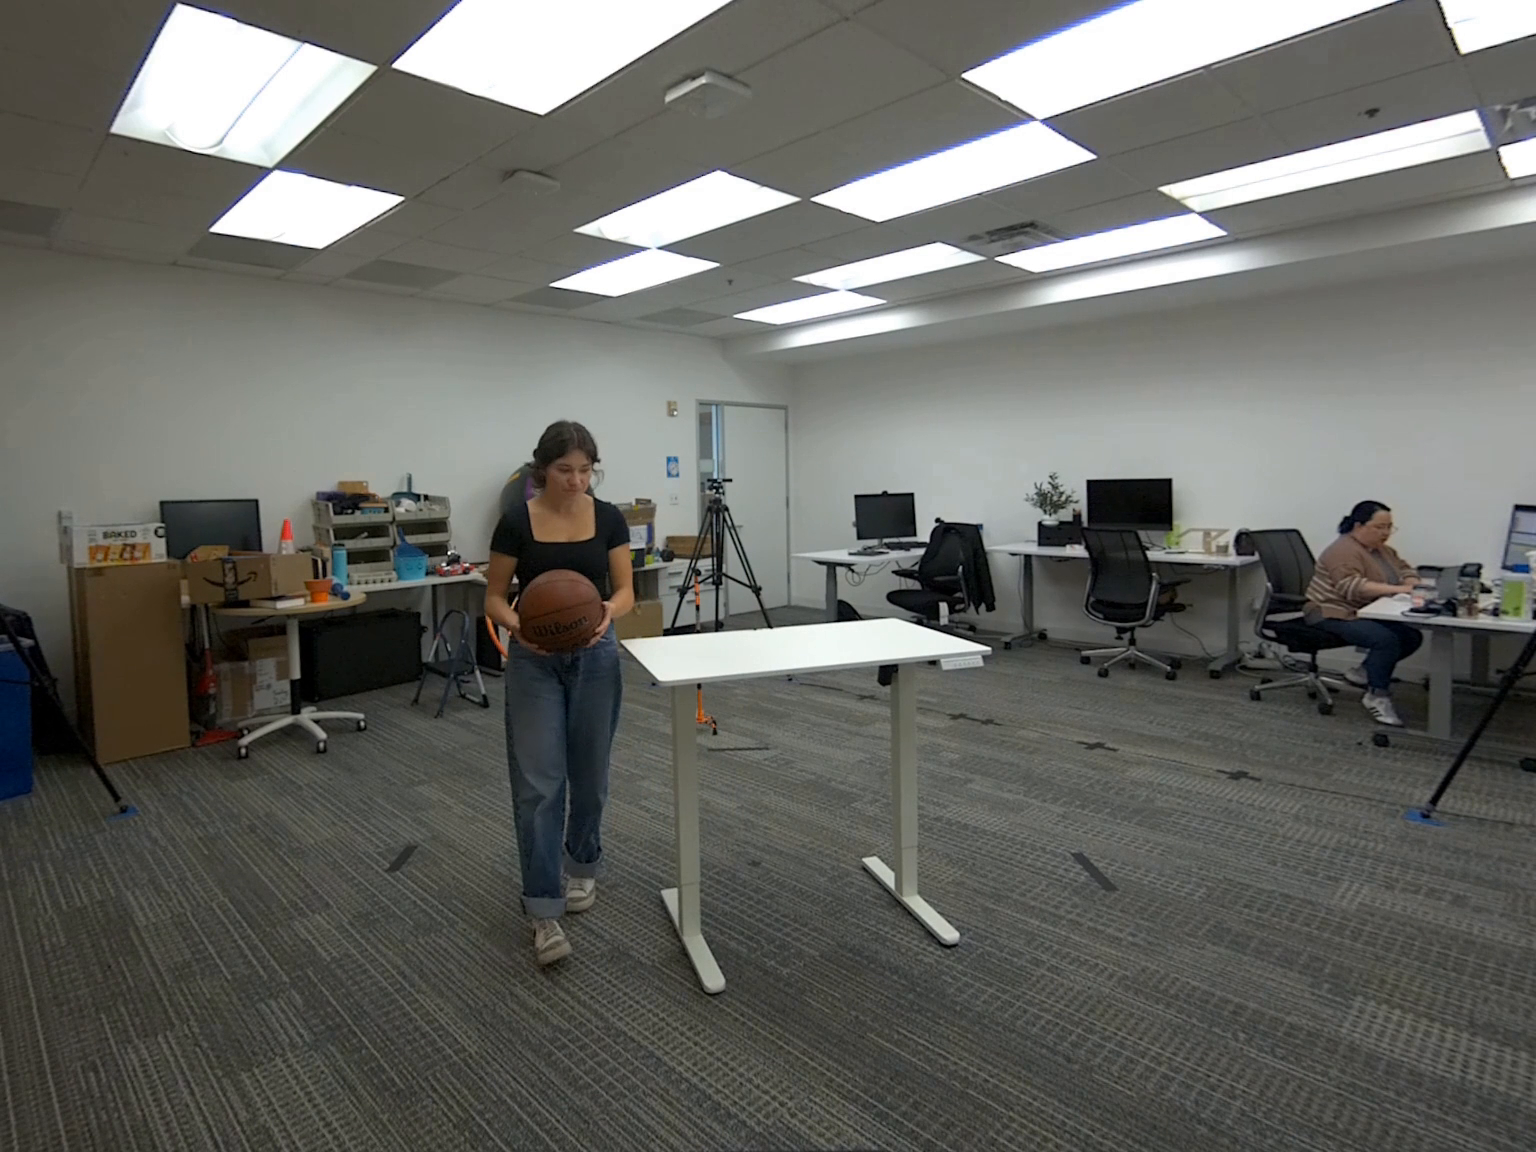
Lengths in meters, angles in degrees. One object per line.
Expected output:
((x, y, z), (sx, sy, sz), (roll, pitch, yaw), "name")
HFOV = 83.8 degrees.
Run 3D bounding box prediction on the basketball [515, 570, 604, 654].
((-0.600, 0.100, 2.443), (0.236, 0.235, 0.237), (-1, 5, -2), "basketball")
